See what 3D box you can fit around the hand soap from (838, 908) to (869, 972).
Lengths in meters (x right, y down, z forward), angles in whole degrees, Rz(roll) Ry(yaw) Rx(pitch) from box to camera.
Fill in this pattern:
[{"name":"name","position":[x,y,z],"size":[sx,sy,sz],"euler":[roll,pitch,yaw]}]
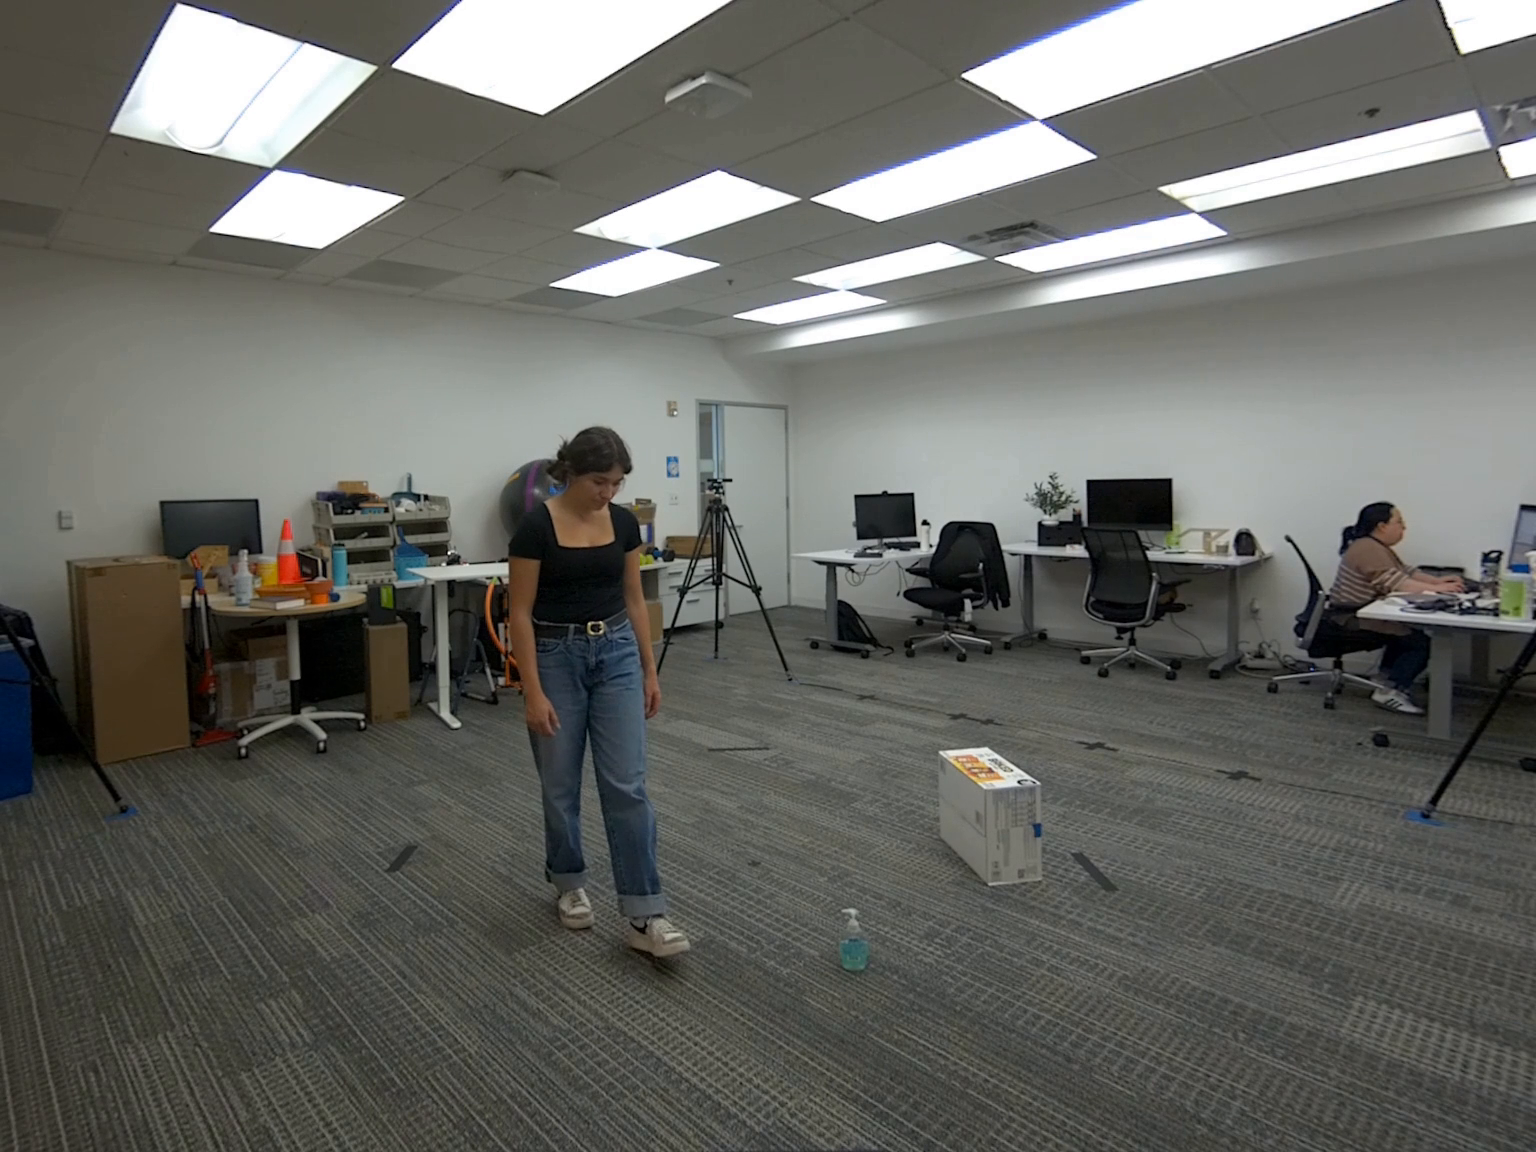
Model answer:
[{"name":"hand soap","position":[0.245,1.032,2.434],"size":[0.085,0.168,0.043],"euler":[1,2,1]}]
